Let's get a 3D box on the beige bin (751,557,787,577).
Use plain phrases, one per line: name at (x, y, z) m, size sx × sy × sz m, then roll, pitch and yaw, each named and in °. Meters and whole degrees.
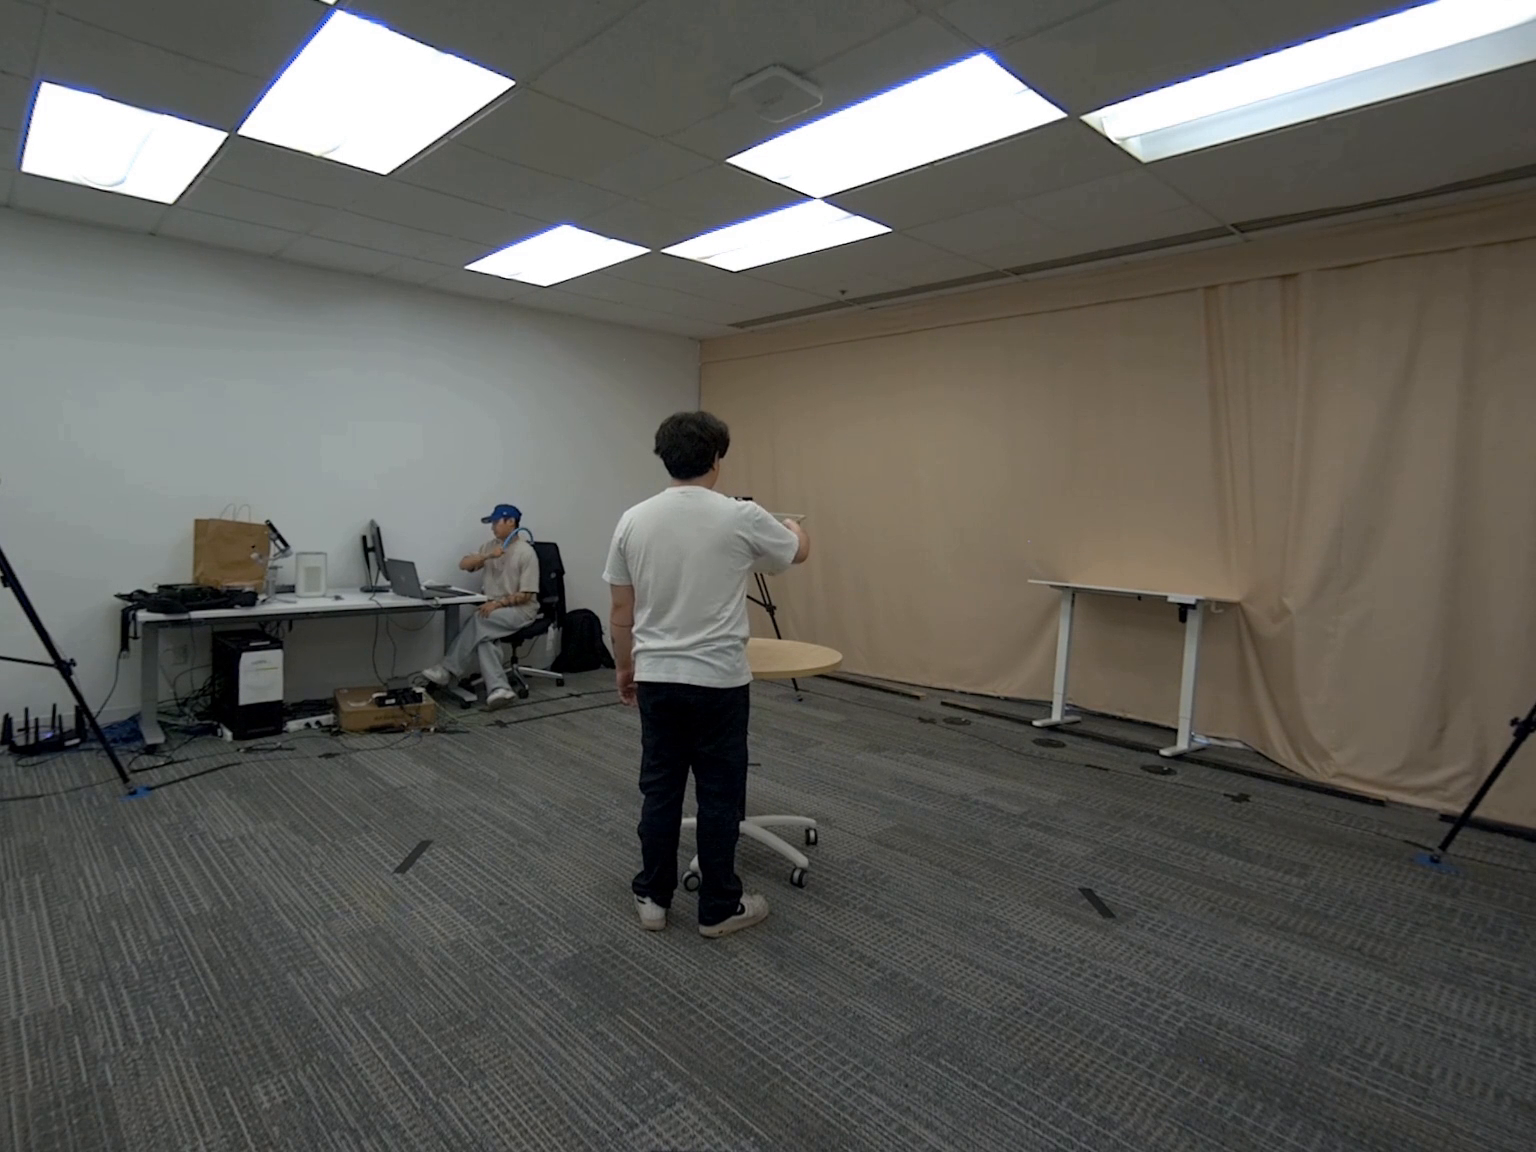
beige bin at (-0.117, -0.126, 3.262) m, size 0.429 × 0.187 × 0.374 m, roll 6°, pitch 13°, yaw 20°
